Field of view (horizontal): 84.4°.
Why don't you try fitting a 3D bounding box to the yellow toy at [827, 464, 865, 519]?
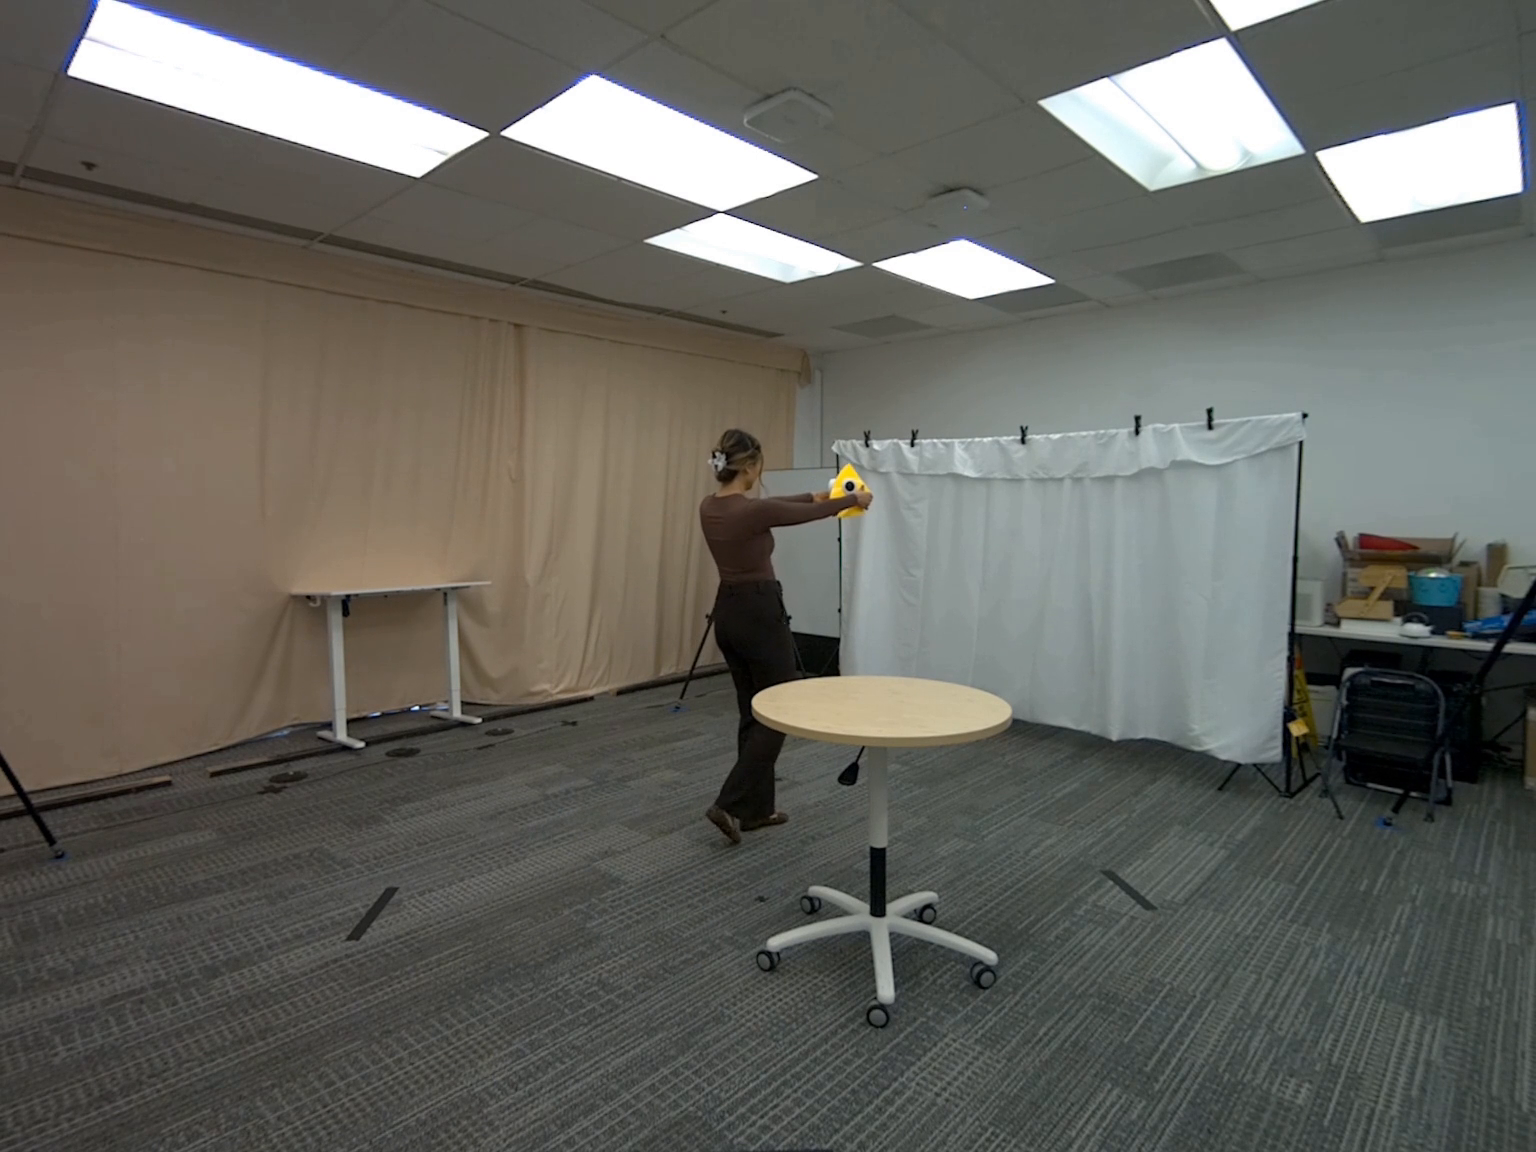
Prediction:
[{"bbox_3d":[0.334,-0.393,3.840,0.188,0.229,0.211,-11,9,-38],"label":"yellow toy"}]
